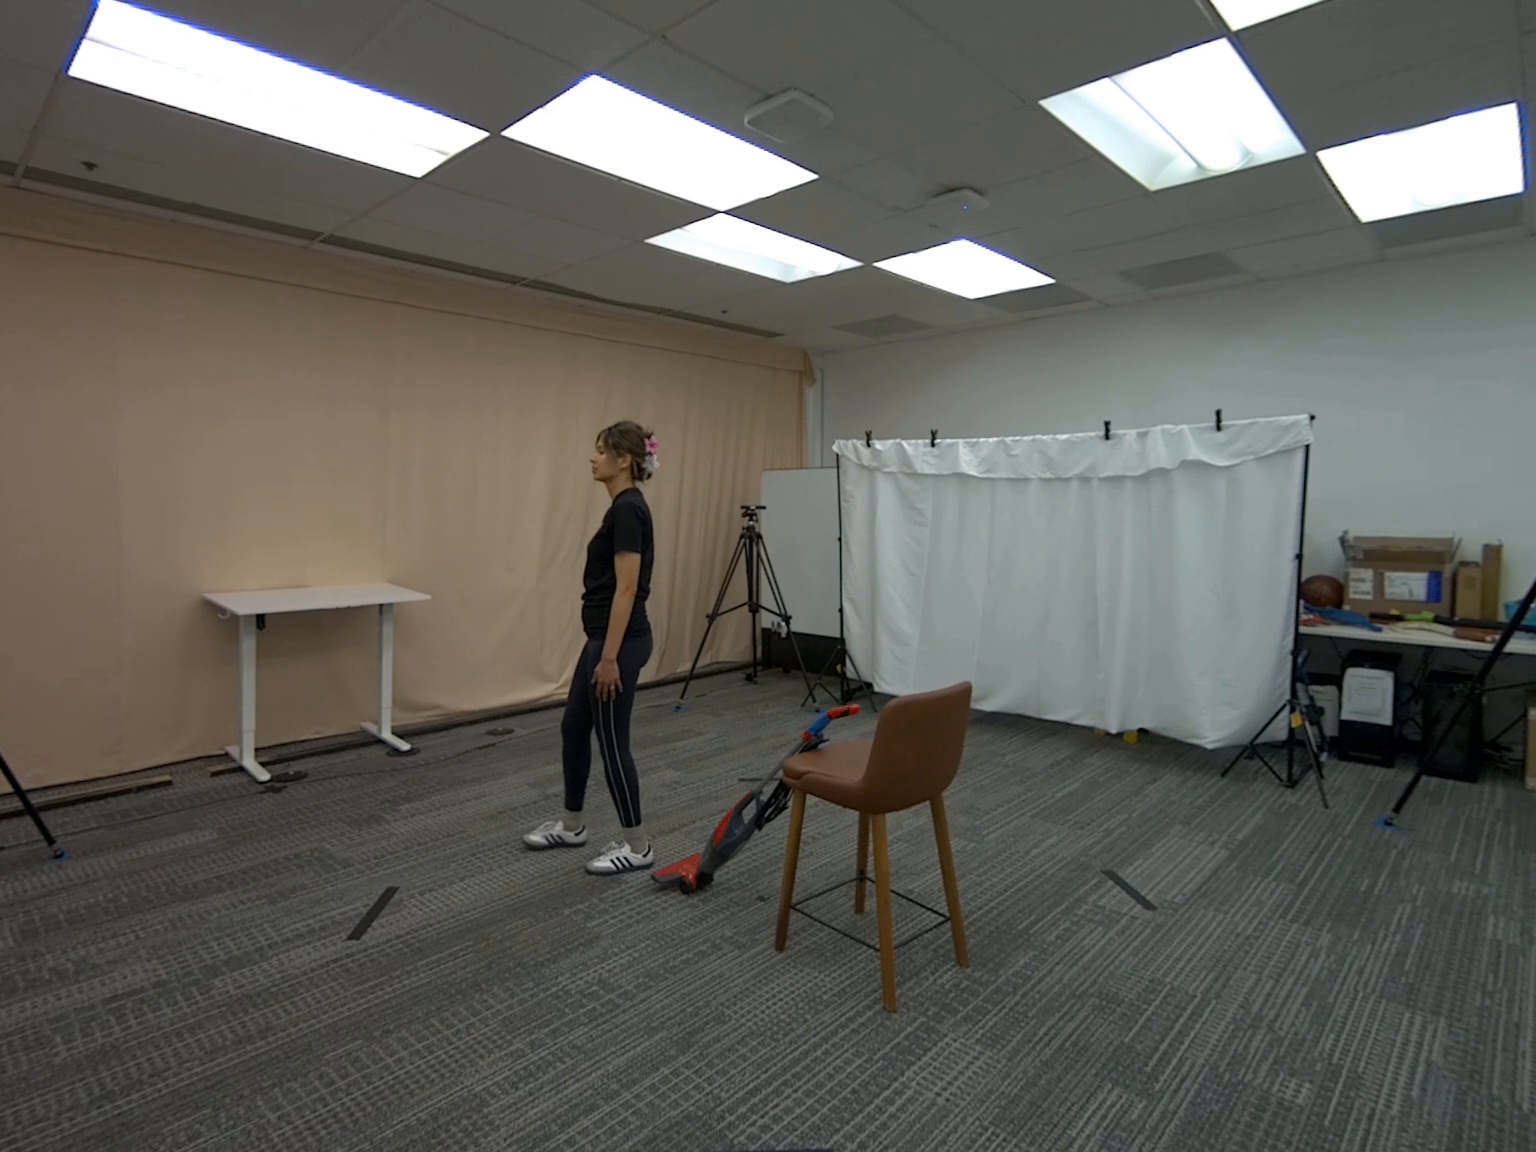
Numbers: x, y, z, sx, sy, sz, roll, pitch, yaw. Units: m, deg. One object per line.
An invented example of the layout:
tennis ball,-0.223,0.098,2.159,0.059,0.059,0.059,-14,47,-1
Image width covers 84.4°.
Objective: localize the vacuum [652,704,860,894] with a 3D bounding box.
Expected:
vacuum,-0.023,0.760,2.837,0.245,0.147,1.053,-8,-37,-51
